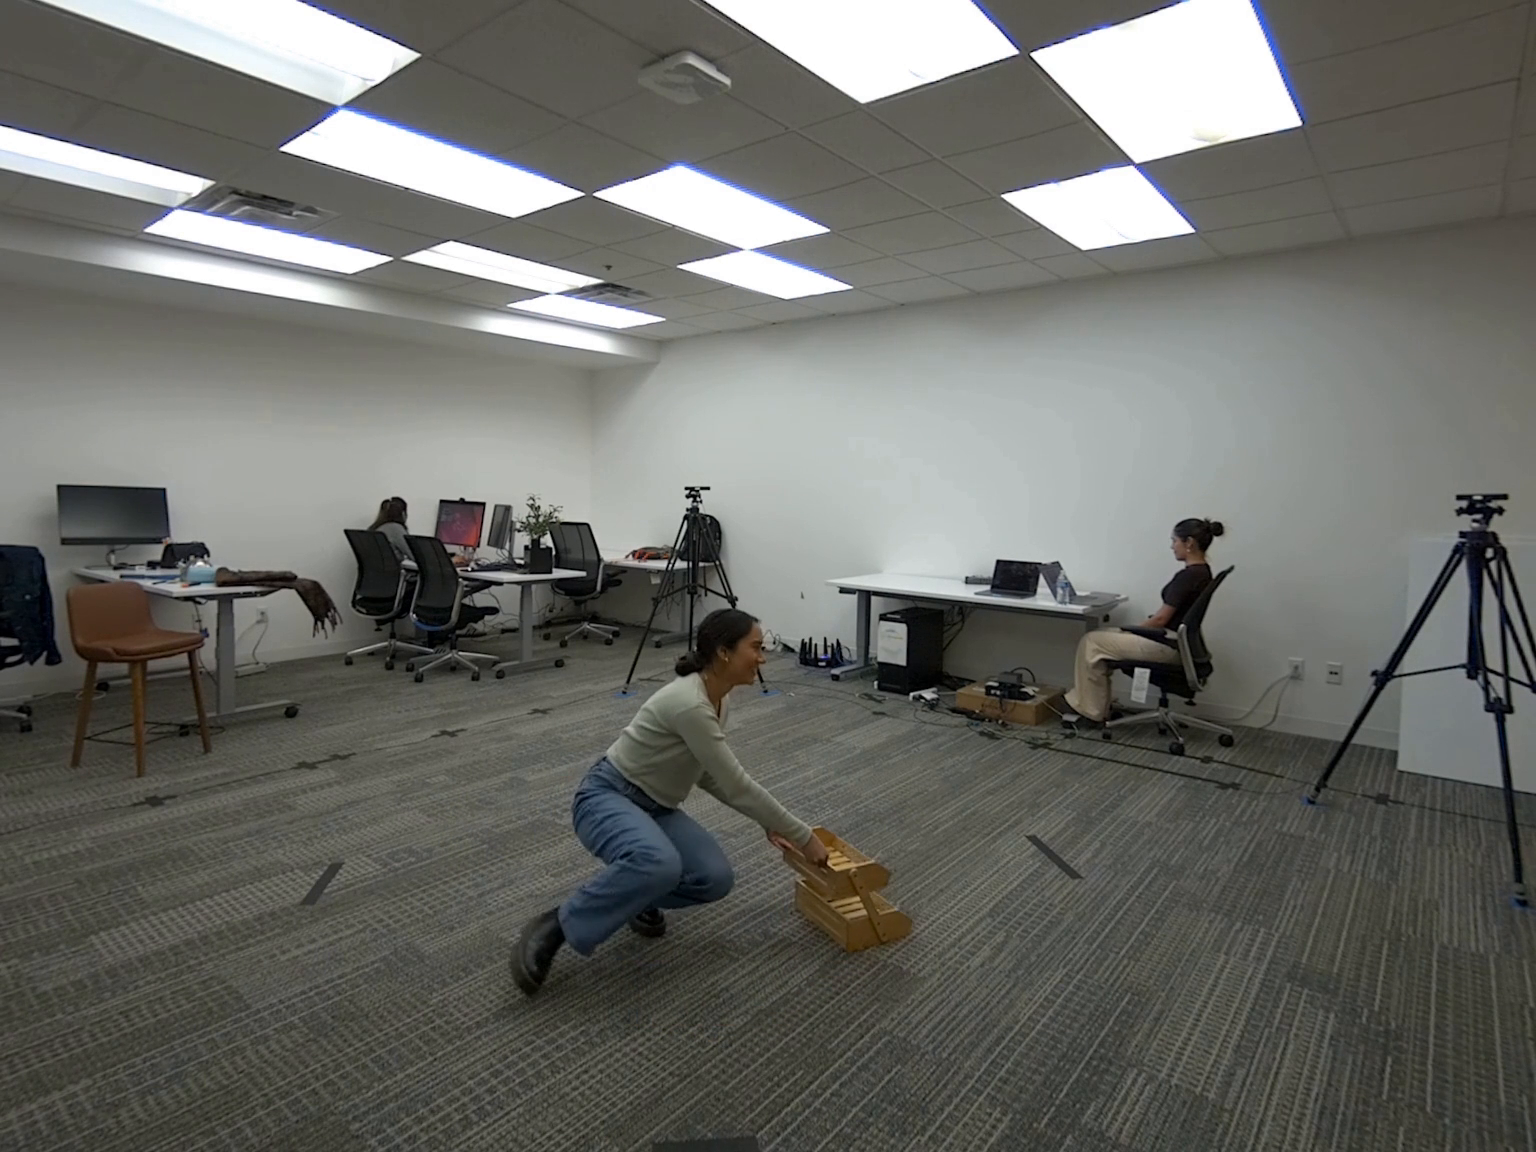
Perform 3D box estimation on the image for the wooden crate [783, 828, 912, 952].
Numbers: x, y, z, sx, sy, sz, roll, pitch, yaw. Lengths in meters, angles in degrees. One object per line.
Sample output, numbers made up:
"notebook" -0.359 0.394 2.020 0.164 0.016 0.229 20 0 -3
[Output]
"wooden crate" 0.250 0.979 2.726 0.294 0.272 0.334 -1 5 -30
